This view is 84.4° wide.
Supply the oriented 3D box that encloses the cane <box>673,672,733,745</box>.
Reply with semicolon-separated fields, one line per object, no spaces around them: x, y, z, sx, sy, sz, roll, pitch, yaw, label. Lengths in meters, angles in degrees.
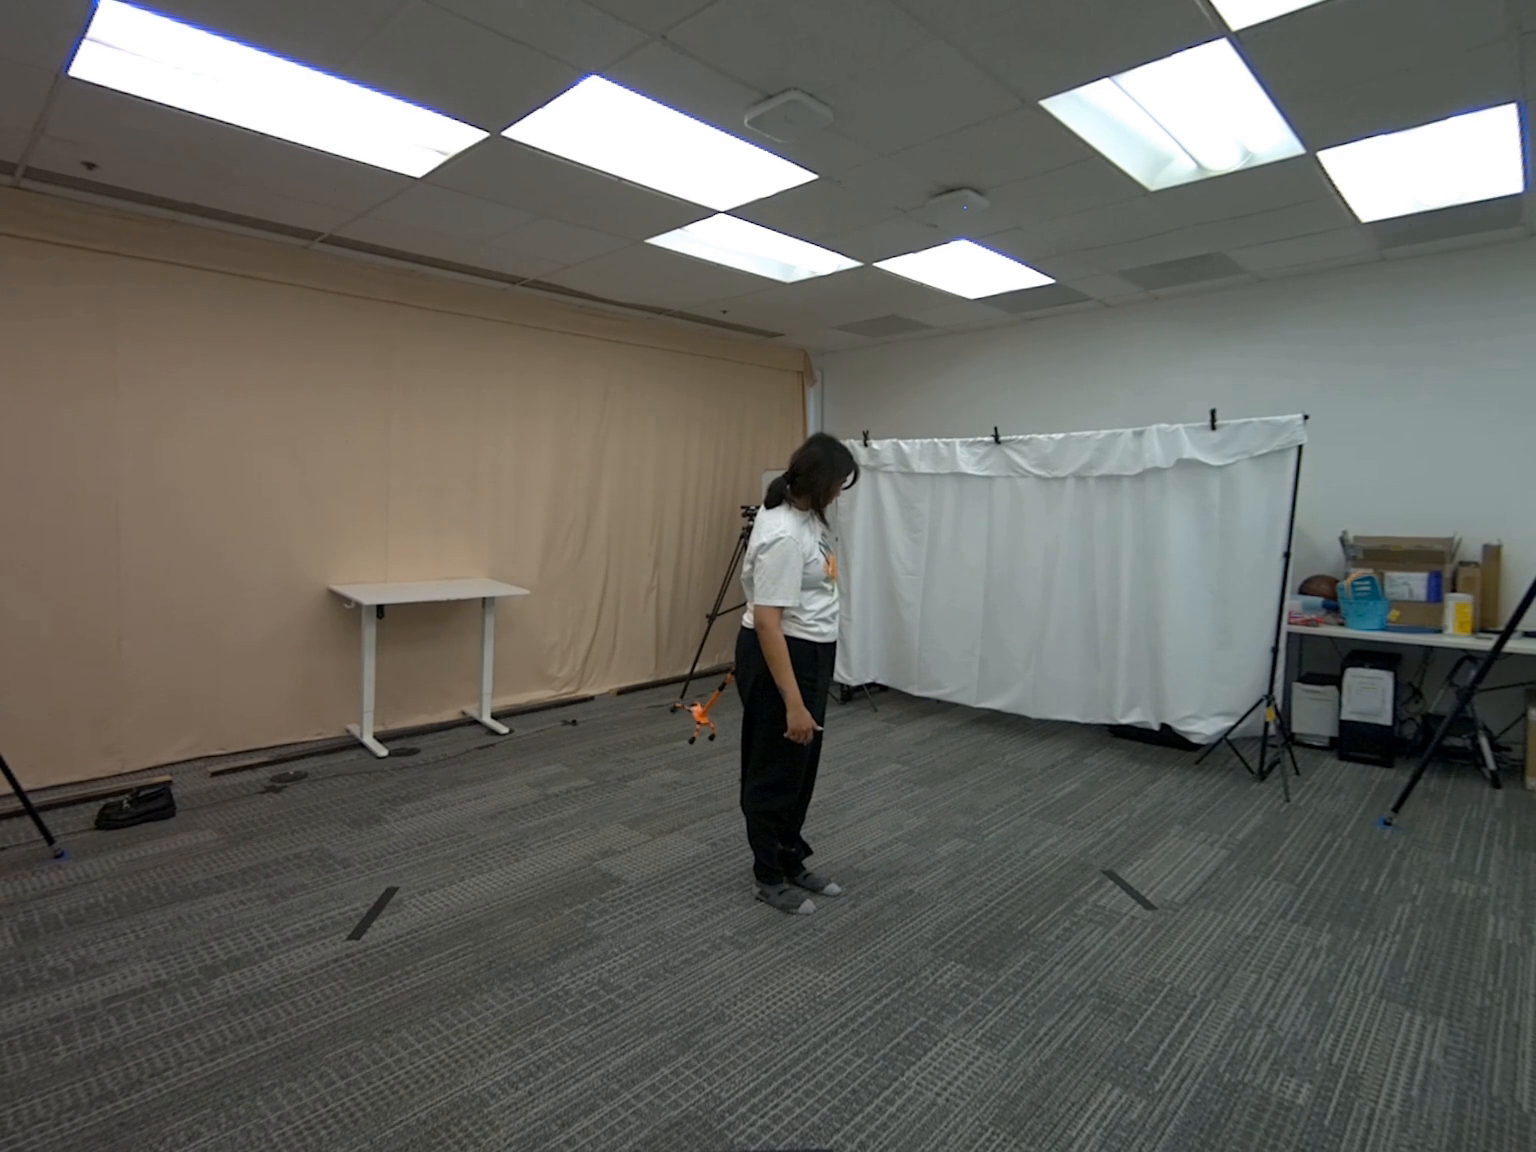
-0.110;0.364;3.586;0.147;0.909;0.213;1;42;-46;cane
